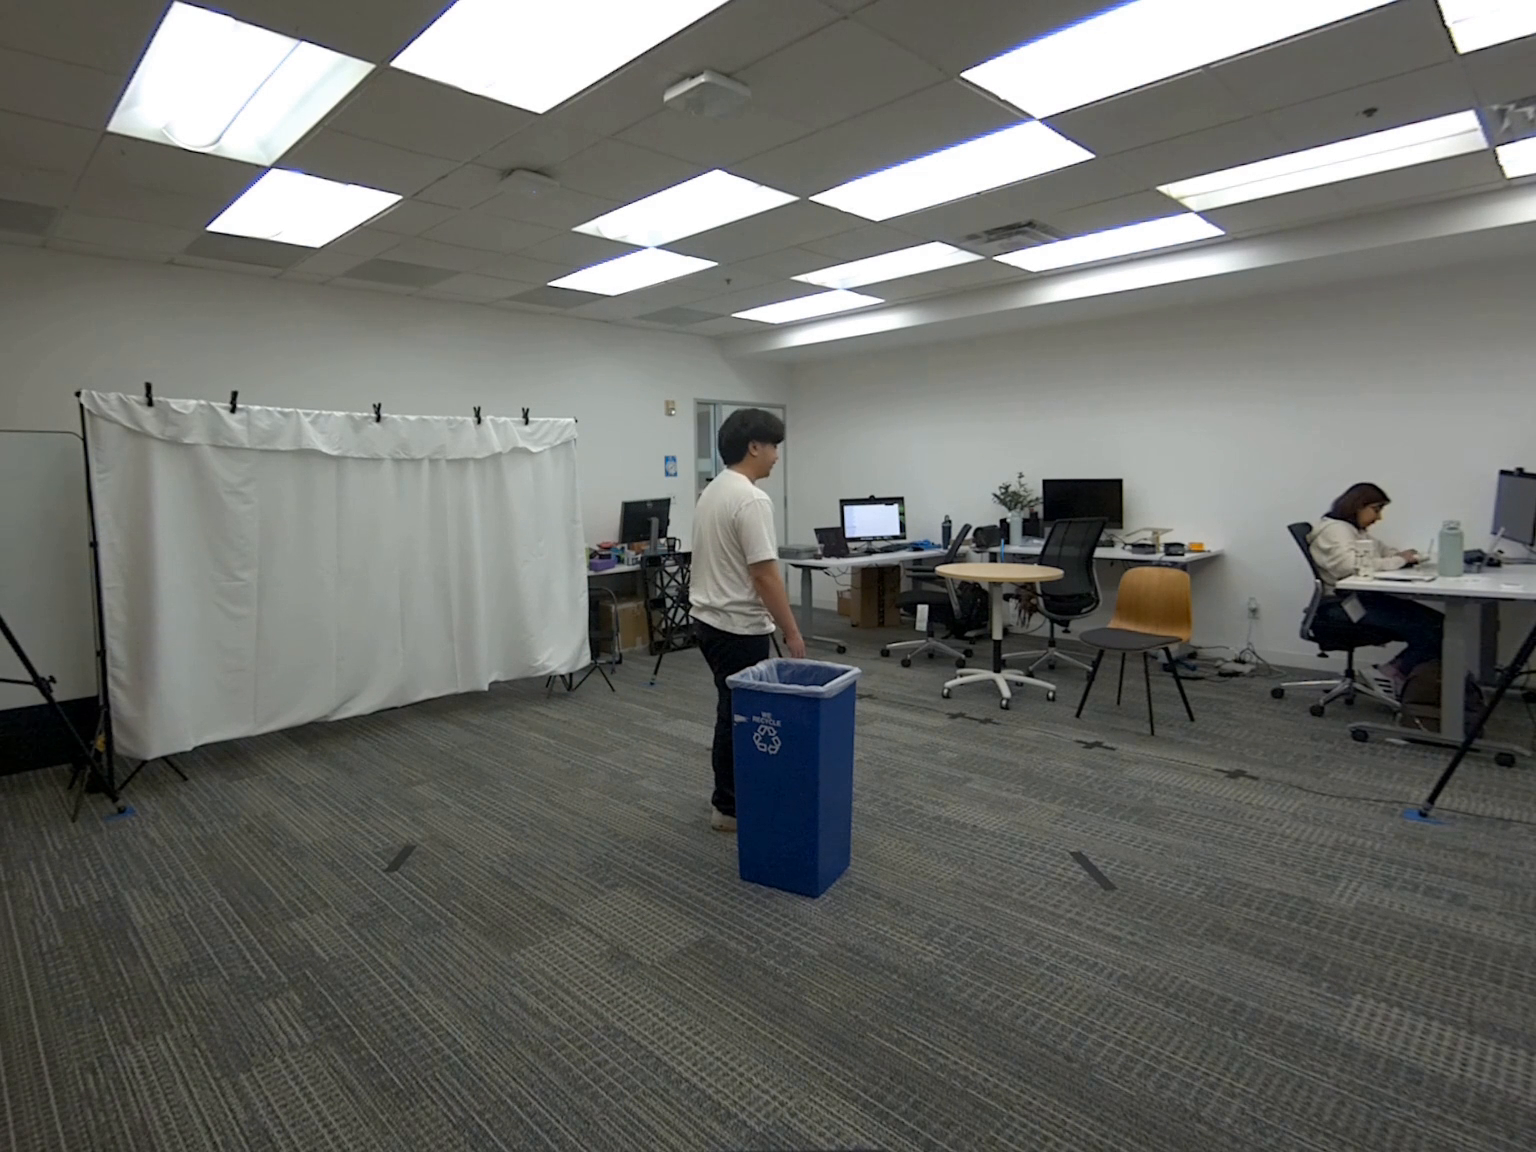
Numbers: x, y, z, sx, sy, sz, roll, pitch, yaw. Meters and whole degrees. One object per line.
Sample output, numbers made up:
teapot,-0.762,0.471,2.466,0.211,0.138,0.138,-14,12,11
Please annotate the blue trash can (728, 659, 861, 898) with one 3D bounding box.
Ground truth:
blue trash can,0.107,0.693,3.007,0.384,0.711,0.370,1,5,30
